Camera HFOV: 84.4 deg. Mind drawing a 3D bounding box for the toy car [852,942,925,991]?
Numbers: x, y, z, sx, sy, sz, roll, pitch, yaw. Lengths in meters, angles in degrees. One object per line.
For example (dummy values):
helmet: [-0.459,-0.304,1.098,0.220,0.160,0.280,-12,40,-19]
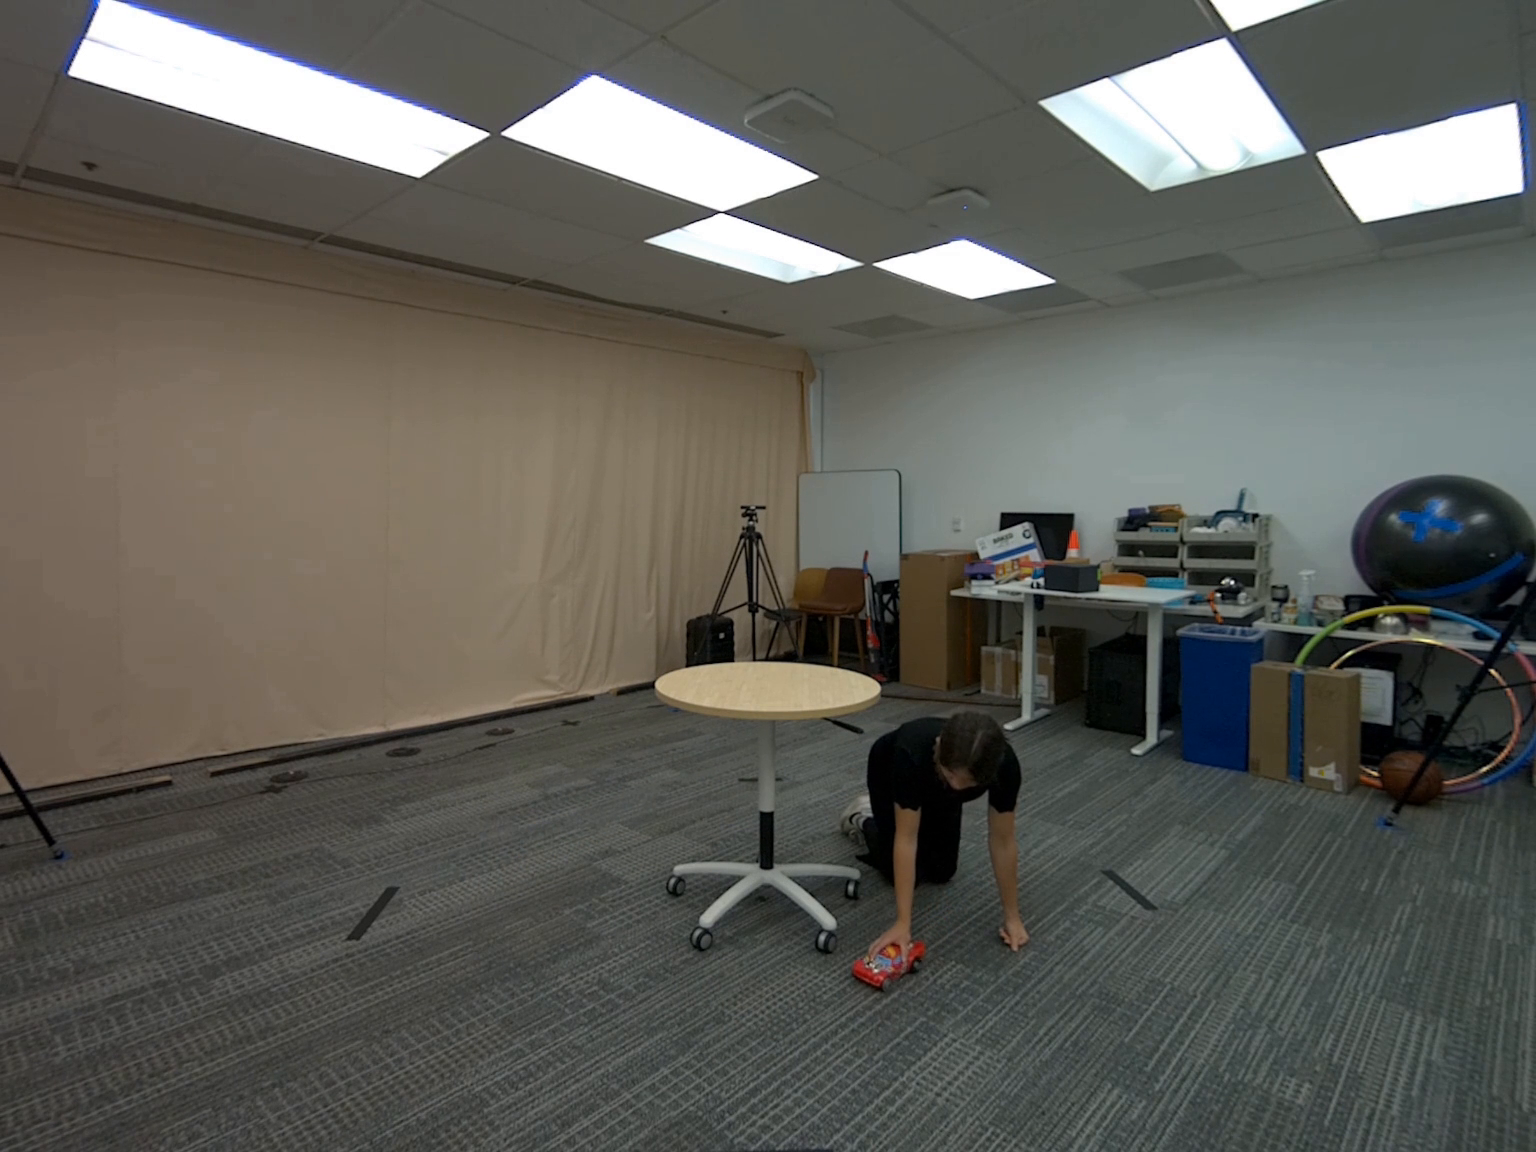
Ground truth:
toy car: [0.380,1.153,2.513,0.248,0.082,0.134,-17,14,-41]
